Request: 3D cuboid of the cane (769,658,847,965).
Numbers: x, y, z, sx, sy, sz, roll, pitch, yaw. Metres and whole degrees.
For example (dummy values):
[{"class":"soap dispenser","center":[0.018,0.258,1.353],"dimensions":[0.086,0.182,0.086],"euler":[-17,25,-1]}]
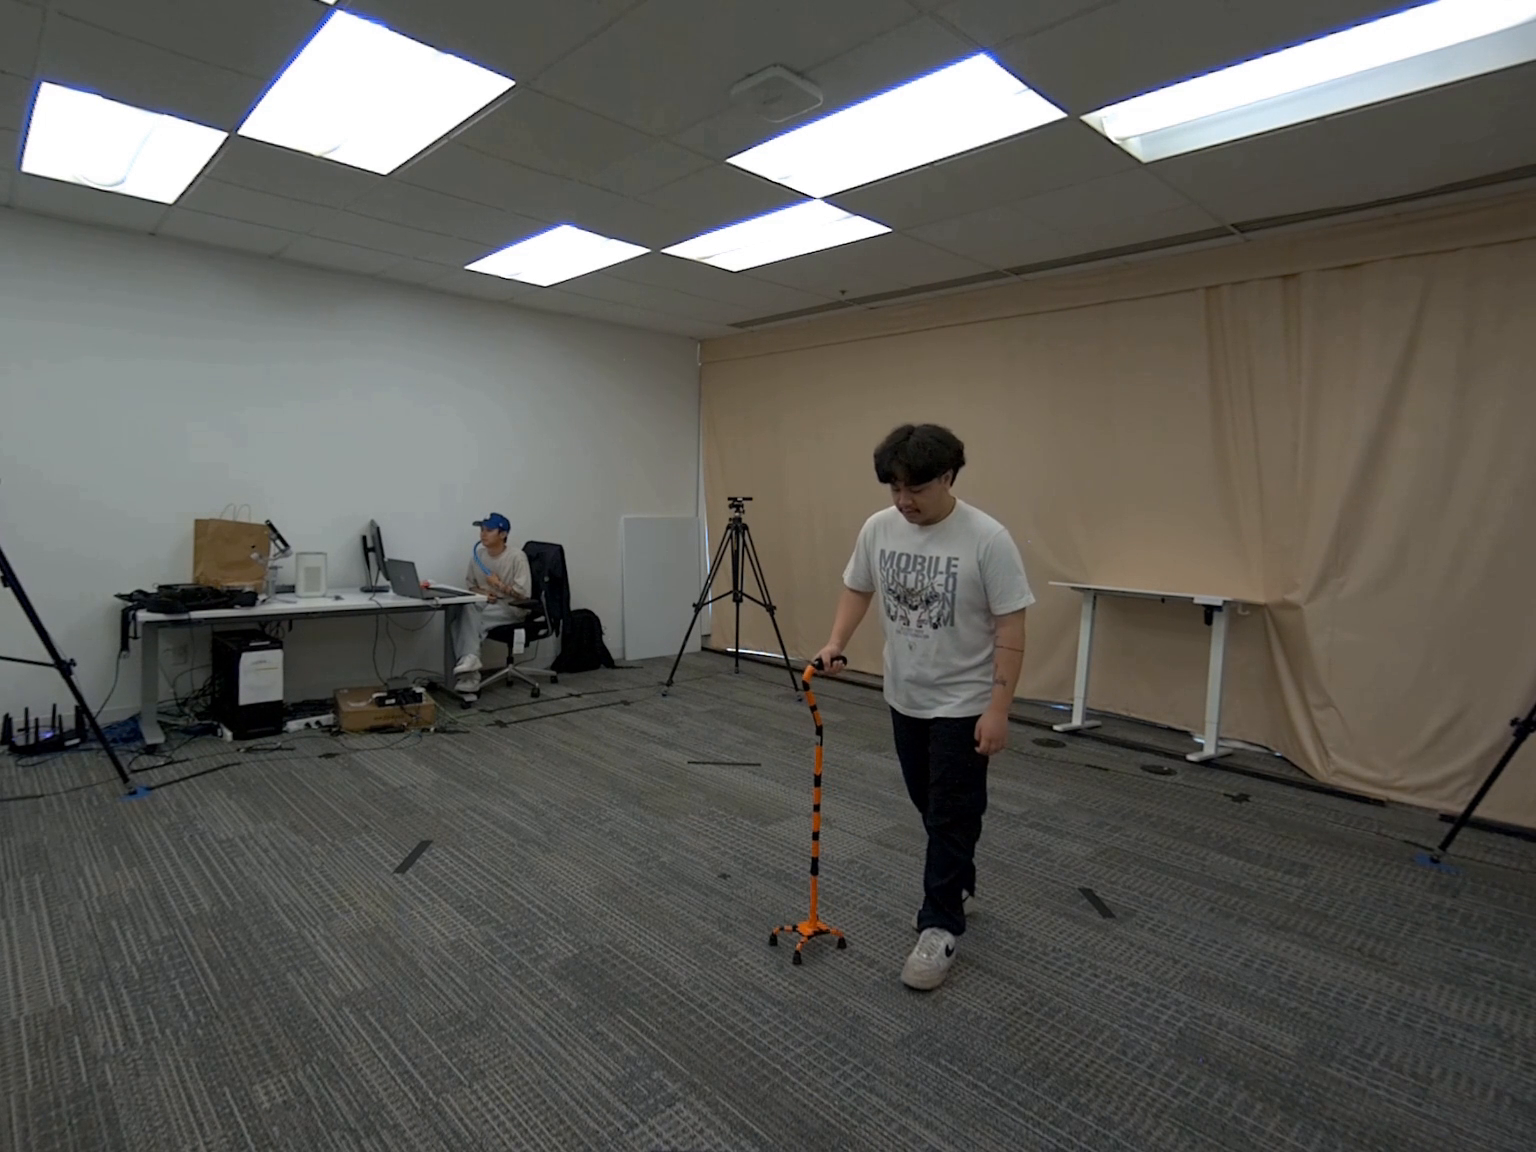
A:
[{"class":"cane","center":[0.143,0.707,2.606],"dimensions":[0.202,0.905,0.155],"euler":[0,5,-34]}]
